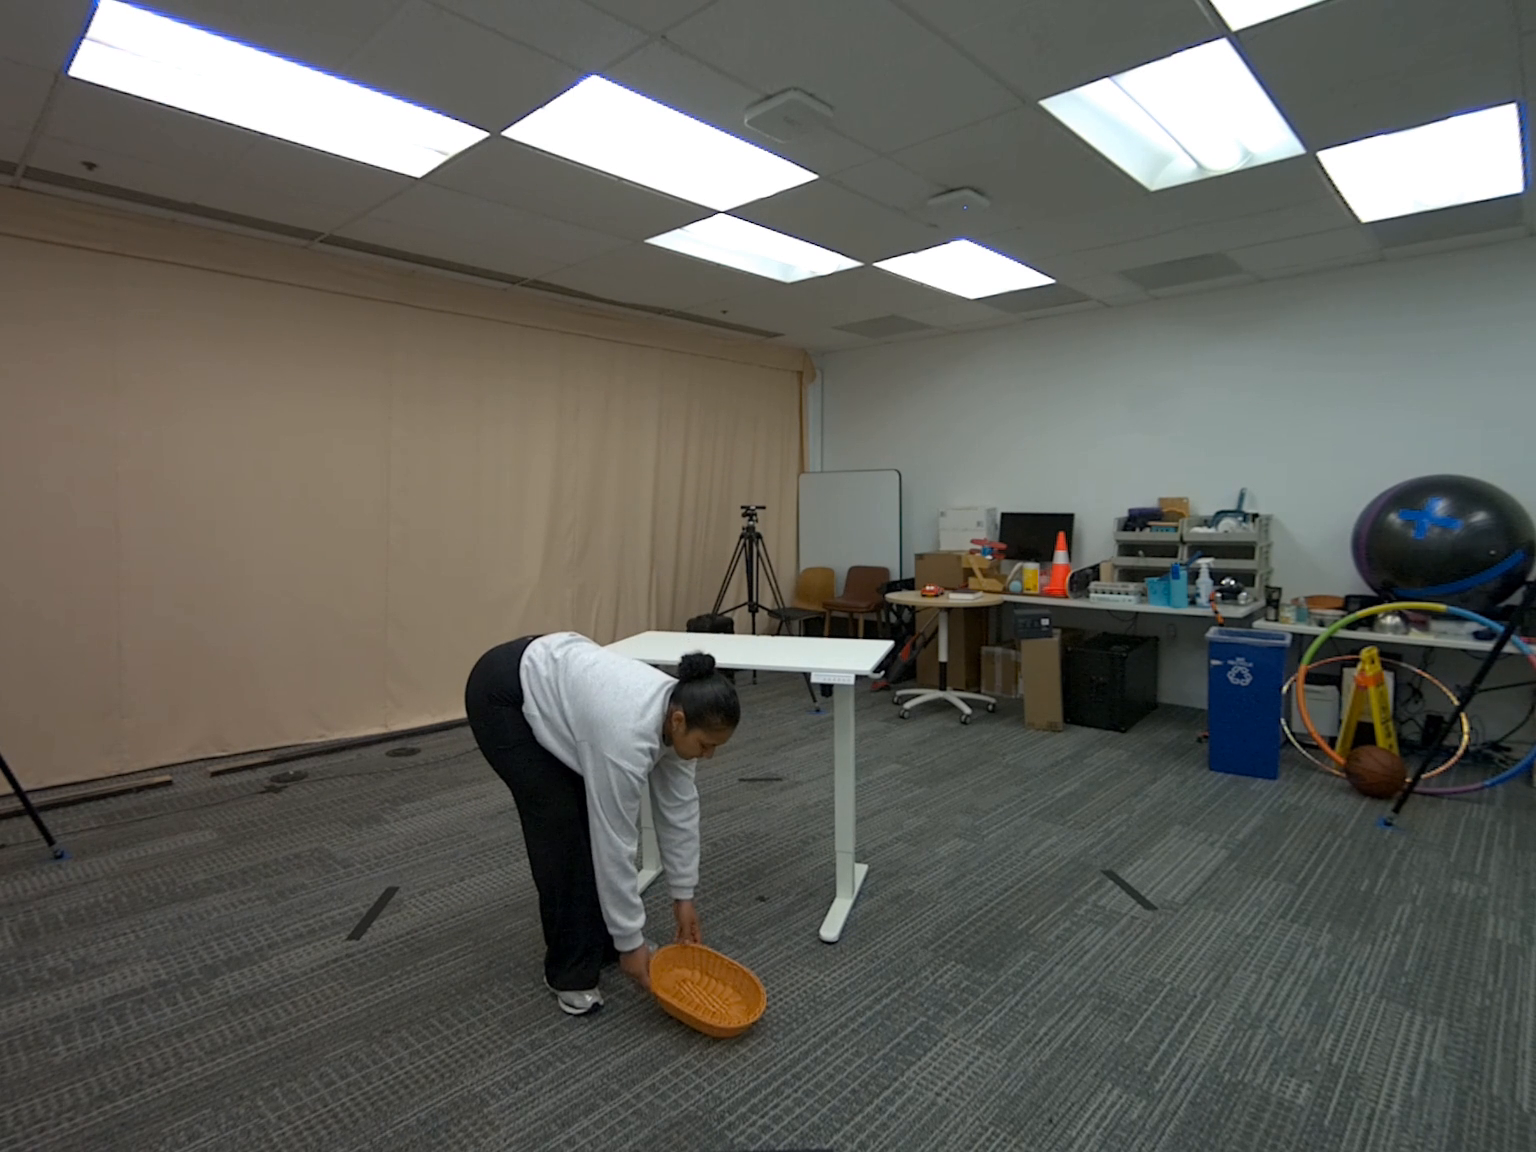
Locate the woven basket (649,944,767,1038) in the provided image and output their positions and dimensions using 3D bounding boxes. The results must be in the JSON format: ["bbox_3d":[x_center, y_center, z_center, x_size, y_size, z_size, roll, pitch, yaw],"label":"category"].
[{"bbox_3d":[-0.173,1.132,2.299,0.362,0.073,0.246,16,16,31],"label":"woven basket"}]
